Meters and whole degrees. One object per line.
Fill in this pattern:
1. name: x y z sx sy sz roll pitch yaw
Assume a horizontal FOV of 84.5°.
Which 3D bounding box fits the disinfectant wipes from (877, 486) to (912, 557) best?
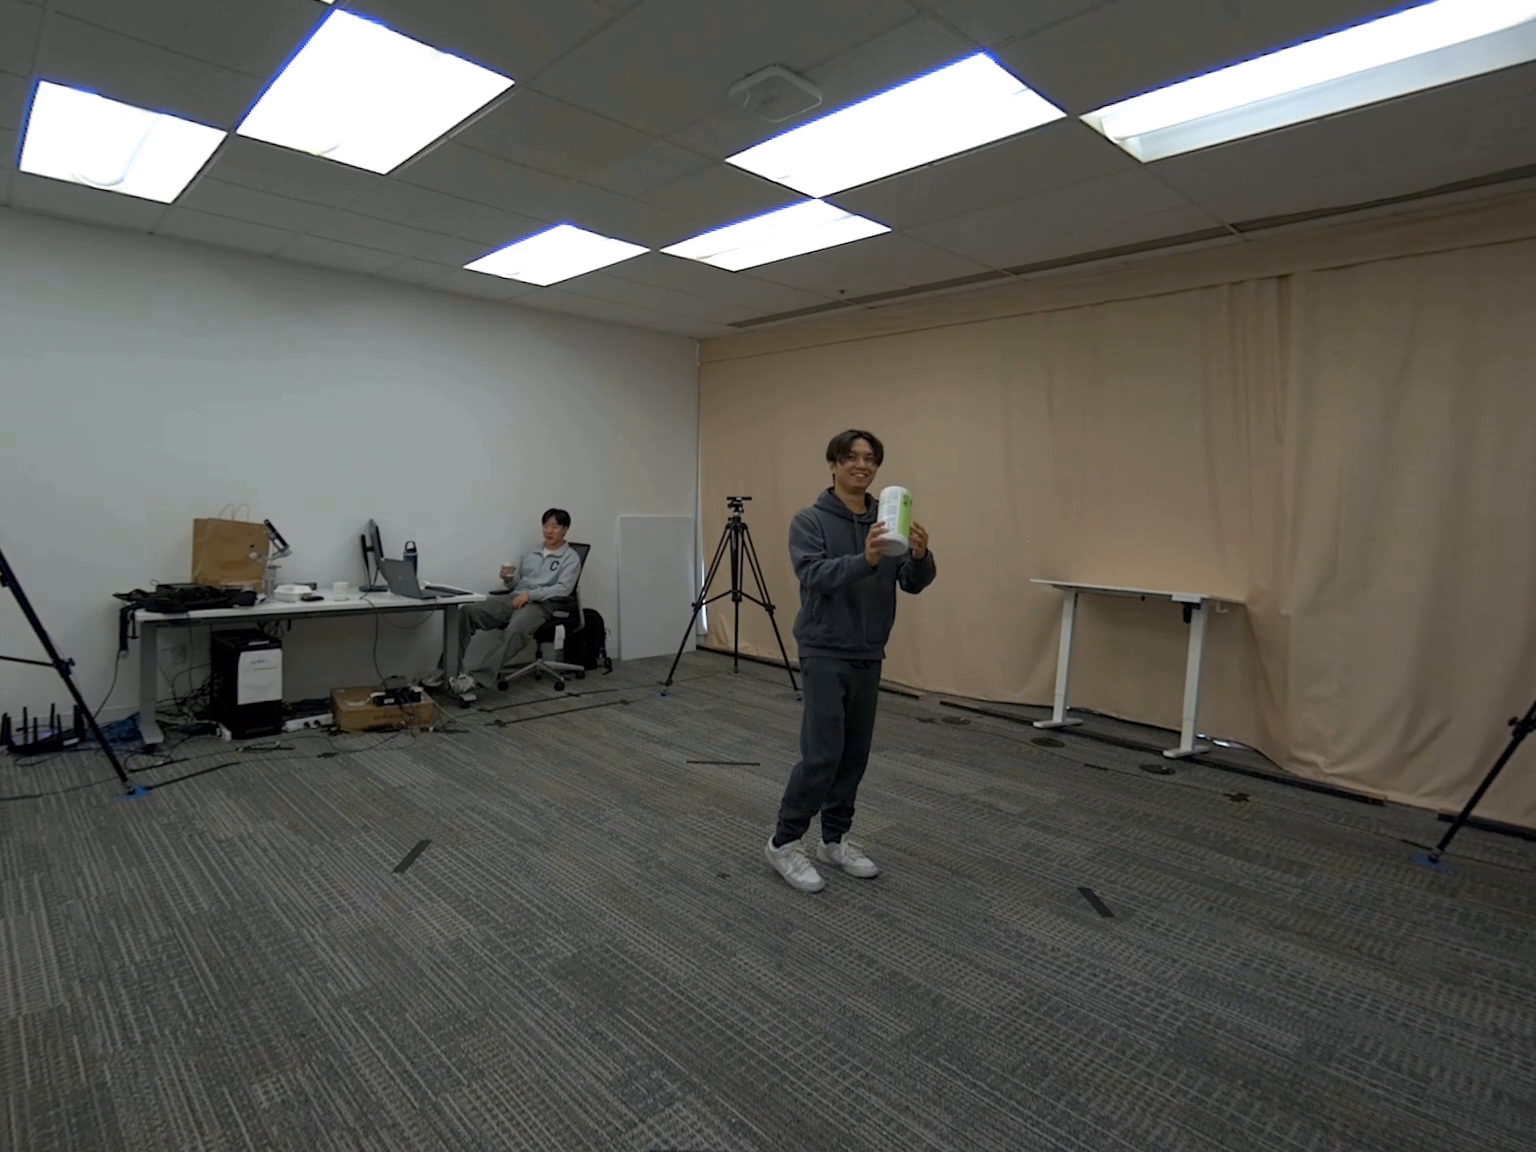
1. disinfectant wipes: 0.409 -0.185 2.808 0.118 0.221 0.115 9 -30 4
